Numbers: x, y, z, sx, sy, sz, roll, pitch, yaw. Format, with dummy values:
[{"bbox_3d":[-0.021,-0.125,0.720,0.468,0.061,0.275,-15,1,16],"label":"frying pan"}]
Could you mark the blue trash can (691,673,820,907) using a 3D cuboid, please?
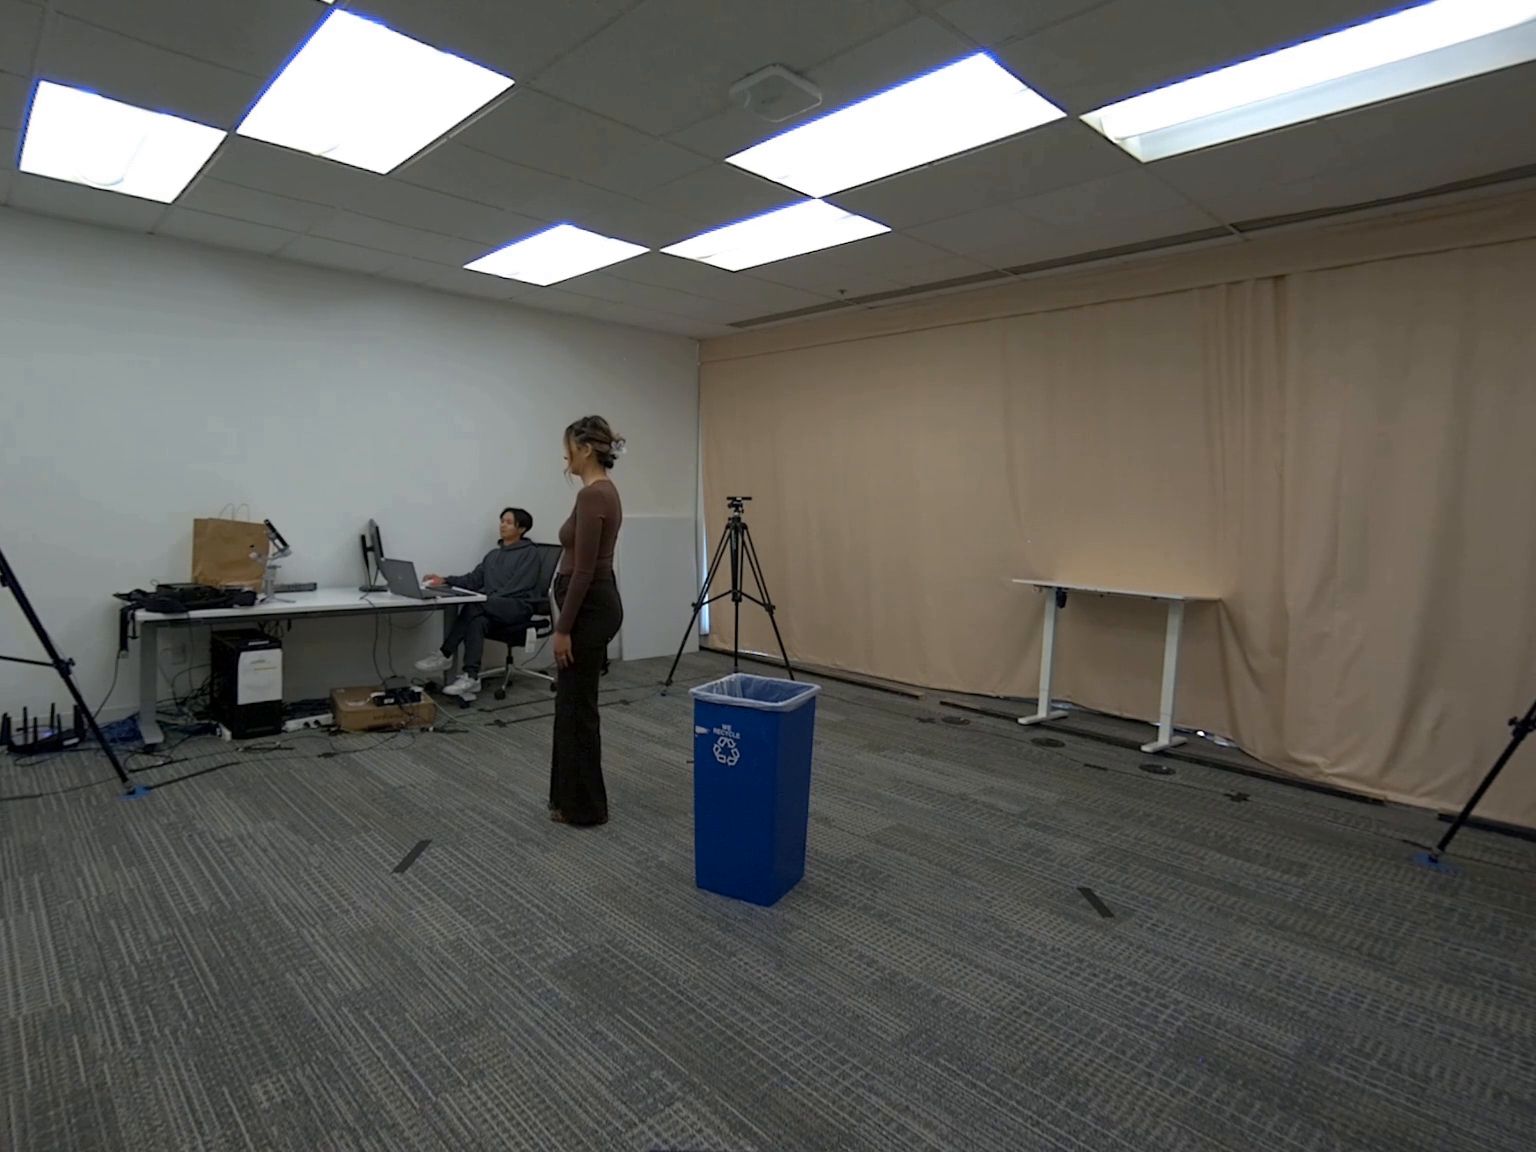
[{"bbox_3d":[-0.062,0.754,3.048,0.386,0.711,0.367,3,5,27],"label":"blue trash can"}]
